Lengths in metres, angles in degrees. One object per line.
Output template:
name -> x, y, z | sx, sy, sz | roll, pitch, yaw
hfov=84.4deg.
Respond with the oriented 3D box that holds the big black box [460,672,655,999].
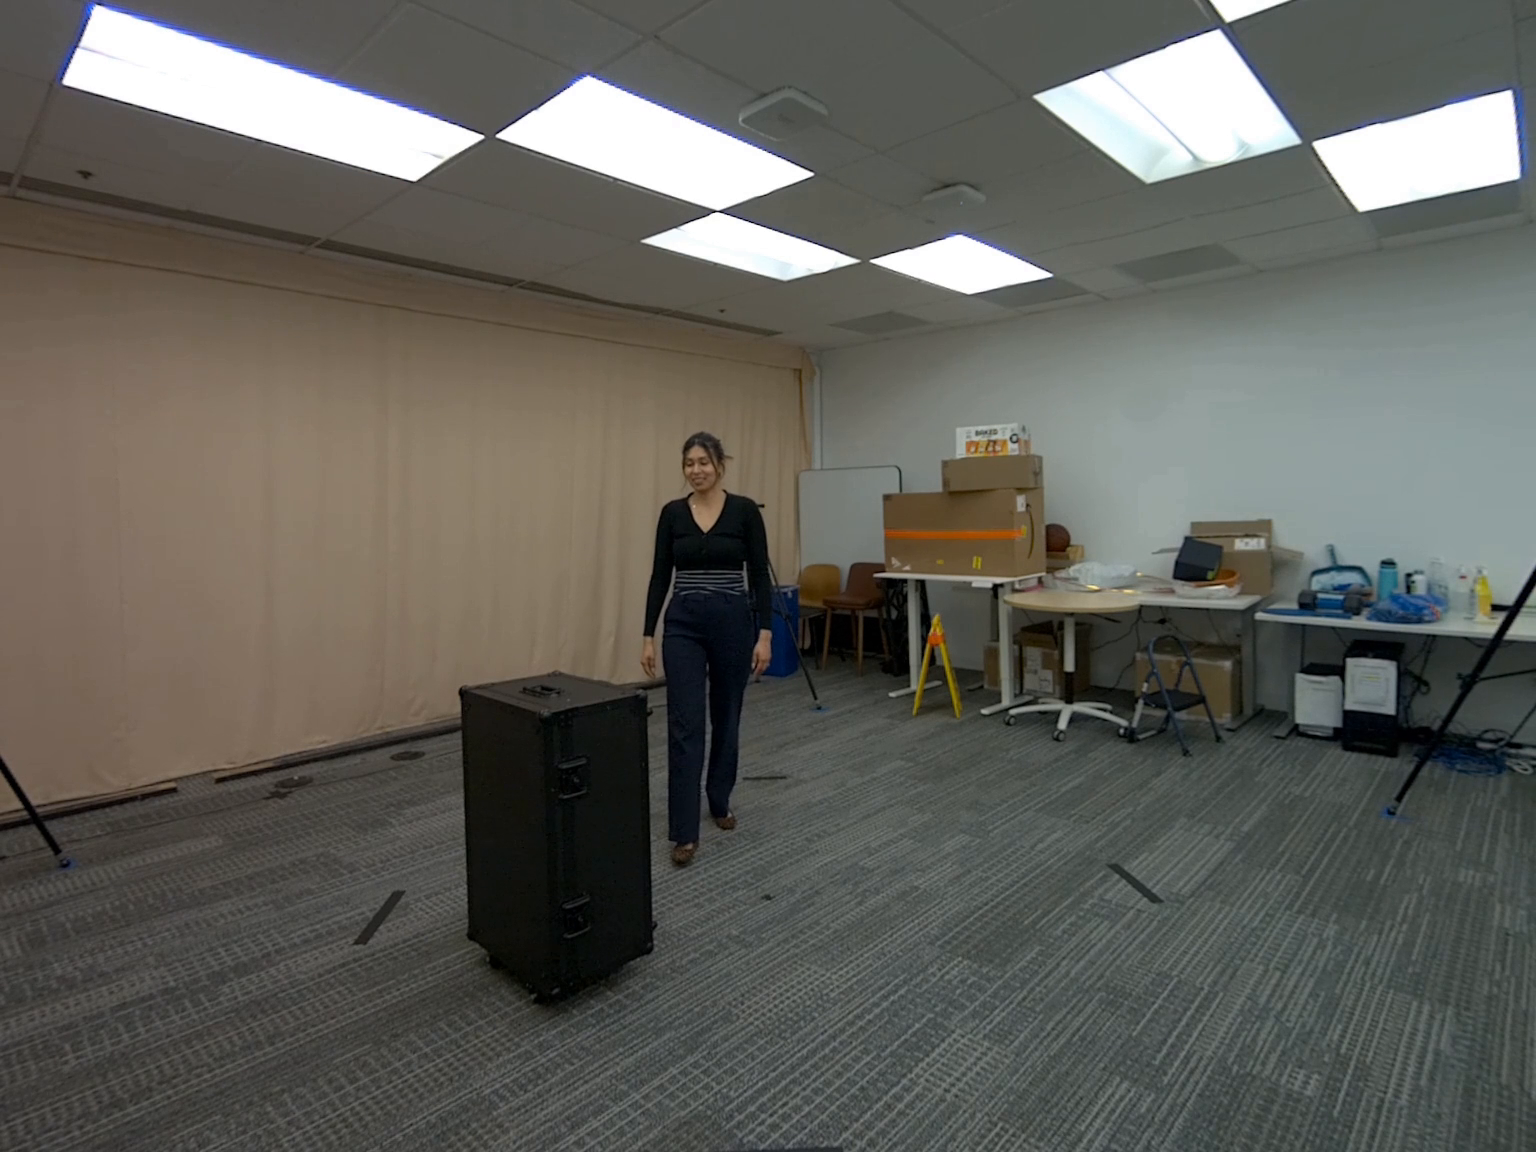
big black box -> -0.638, 0.765, 2.547 | 0.384, 0.860, 0.538 | -2, 4, -45
